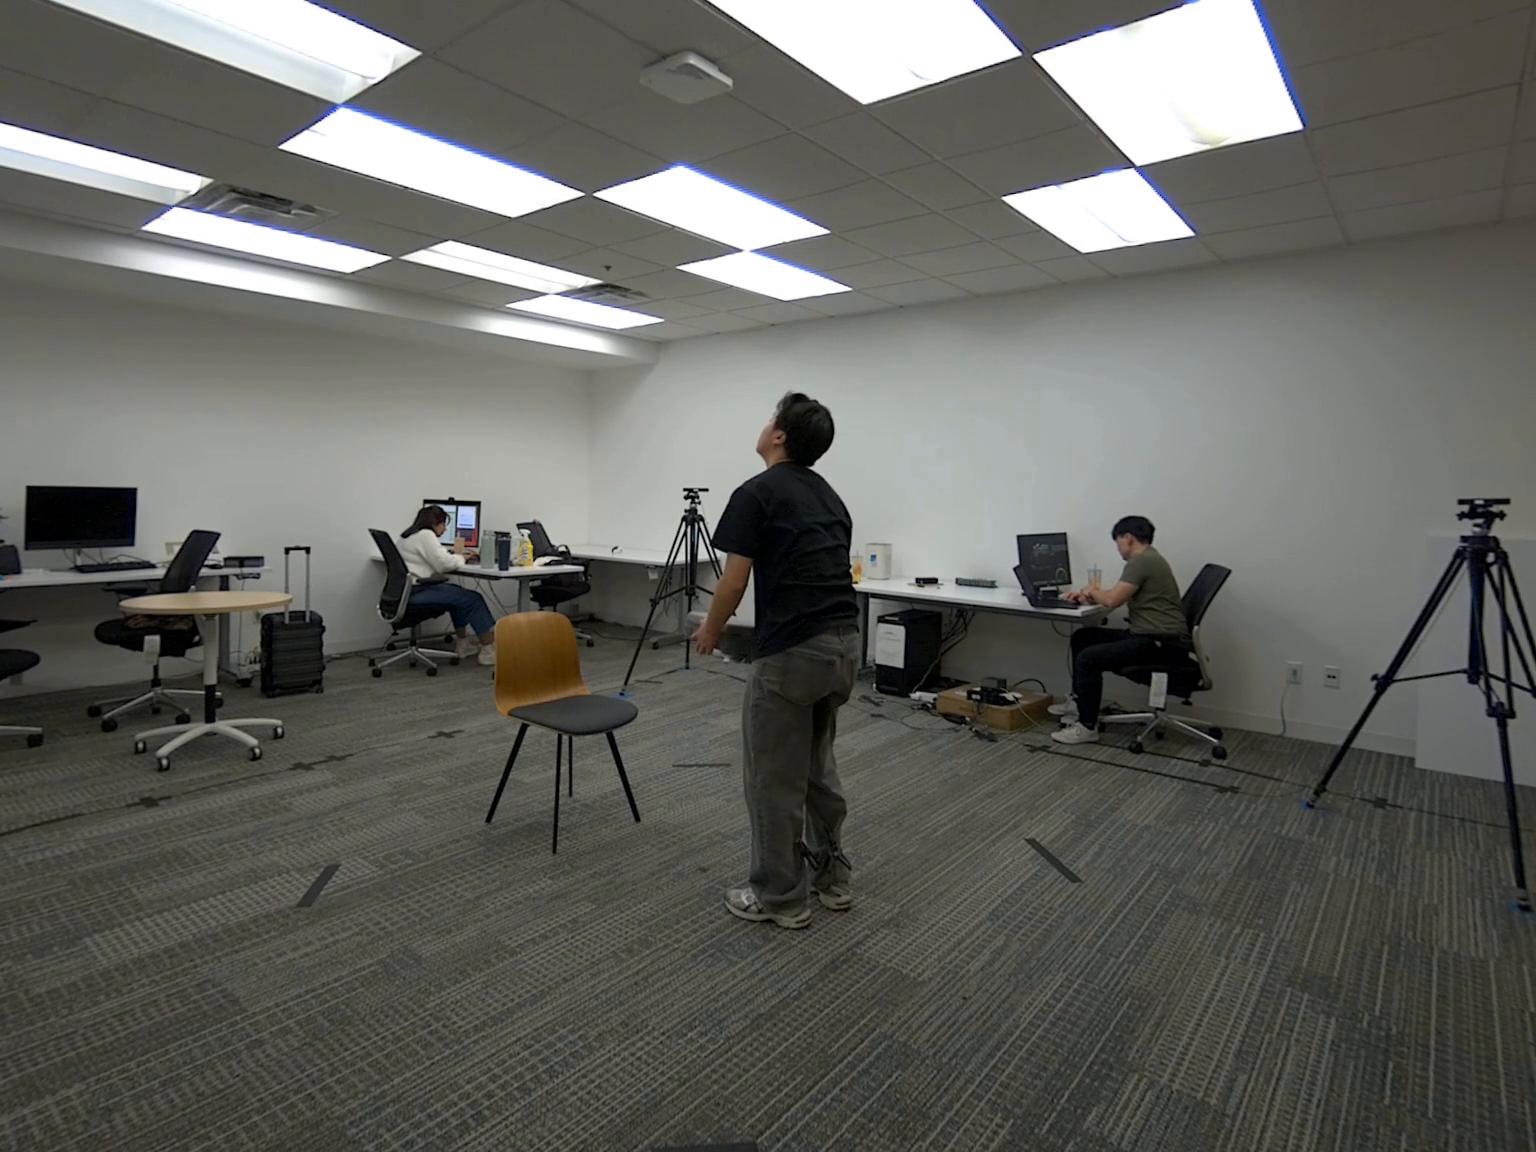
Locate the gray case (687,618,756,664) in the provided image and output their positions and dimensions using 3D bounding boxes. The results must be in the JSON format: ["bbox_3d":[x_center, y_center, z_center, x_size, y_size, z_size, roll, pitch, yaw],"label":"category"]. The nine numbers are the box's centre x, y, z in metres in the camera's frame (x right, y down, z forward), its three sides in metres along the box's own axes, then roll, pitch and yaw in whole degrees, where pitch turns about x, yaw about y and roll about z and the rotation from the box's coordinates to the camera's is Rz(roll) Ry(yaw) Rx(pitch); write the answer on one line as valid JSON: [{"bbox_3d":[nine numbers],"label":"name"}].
[{"bbox_3d":[-0.146,0.218,3.075,0.254,0.103,0.297,9,2,-40],"label":"gray case"}]
